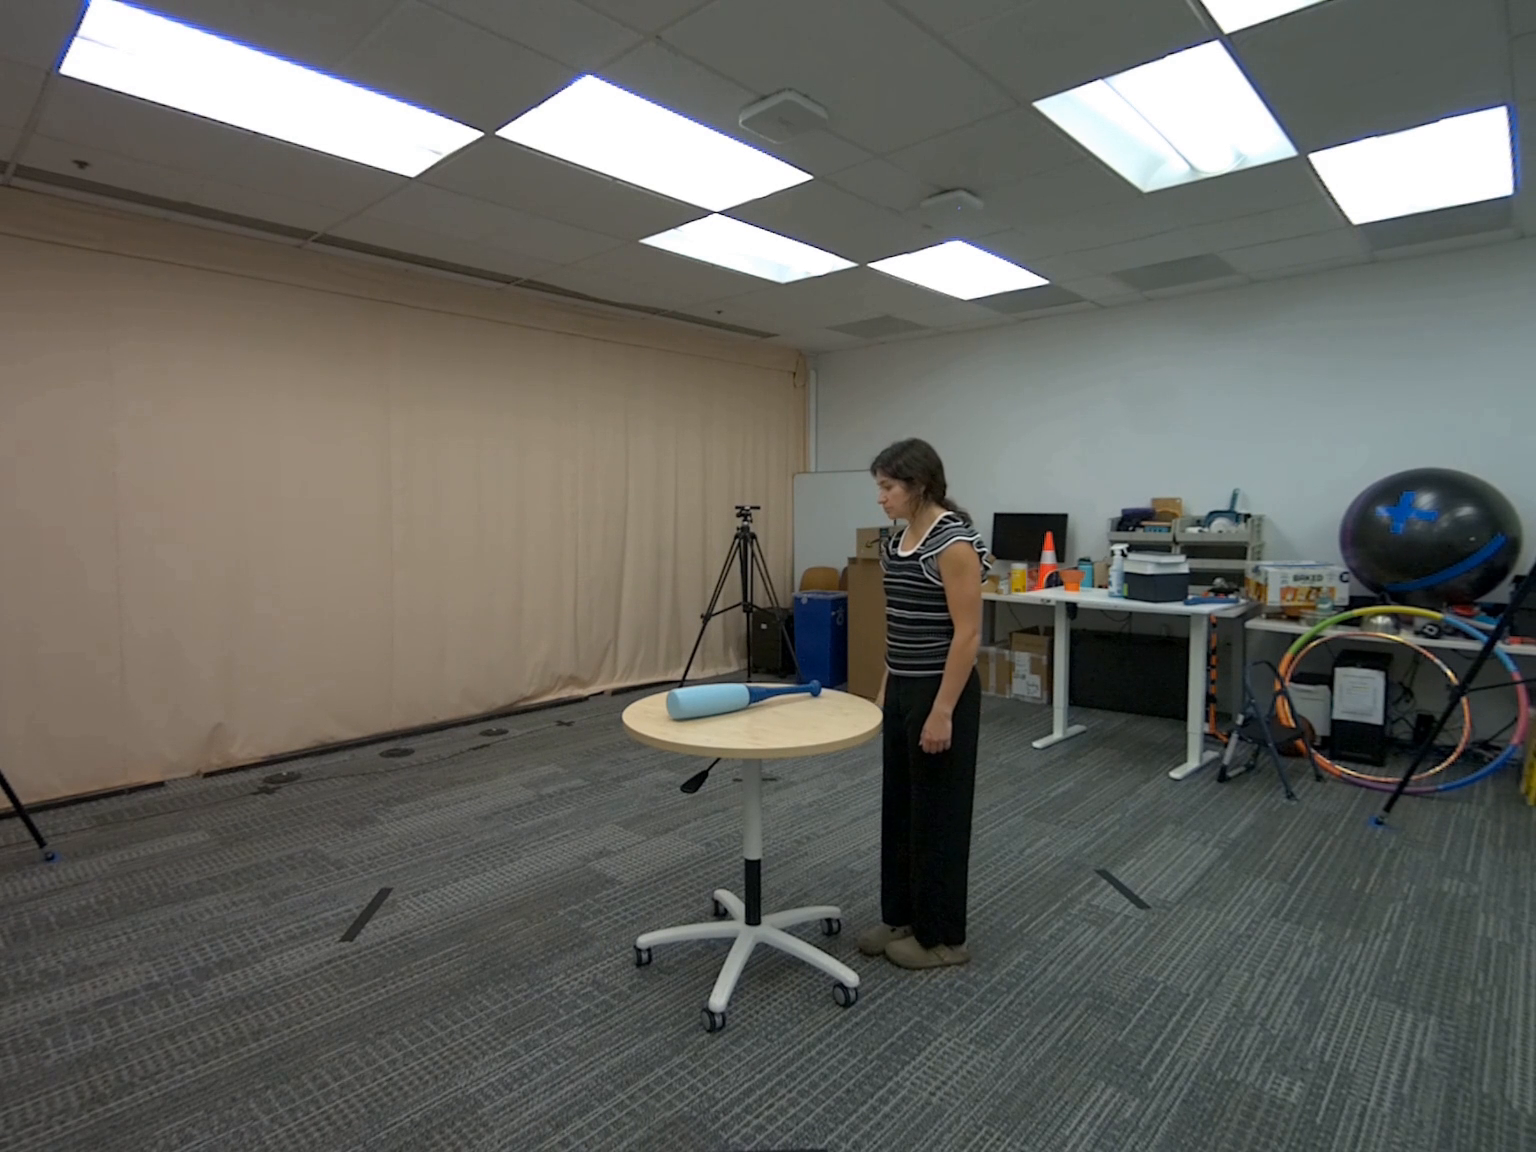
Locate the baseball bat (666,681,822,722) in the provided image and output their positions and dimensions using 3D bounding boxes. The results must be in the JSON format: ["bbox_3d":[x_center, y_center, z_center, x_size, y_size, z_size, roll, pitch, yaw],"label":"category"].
[{"bbox_3d":[-0.051,0.367,2.539,0.527,0.089,0.092,0,3,-33],"label":"baseball bat"}]
